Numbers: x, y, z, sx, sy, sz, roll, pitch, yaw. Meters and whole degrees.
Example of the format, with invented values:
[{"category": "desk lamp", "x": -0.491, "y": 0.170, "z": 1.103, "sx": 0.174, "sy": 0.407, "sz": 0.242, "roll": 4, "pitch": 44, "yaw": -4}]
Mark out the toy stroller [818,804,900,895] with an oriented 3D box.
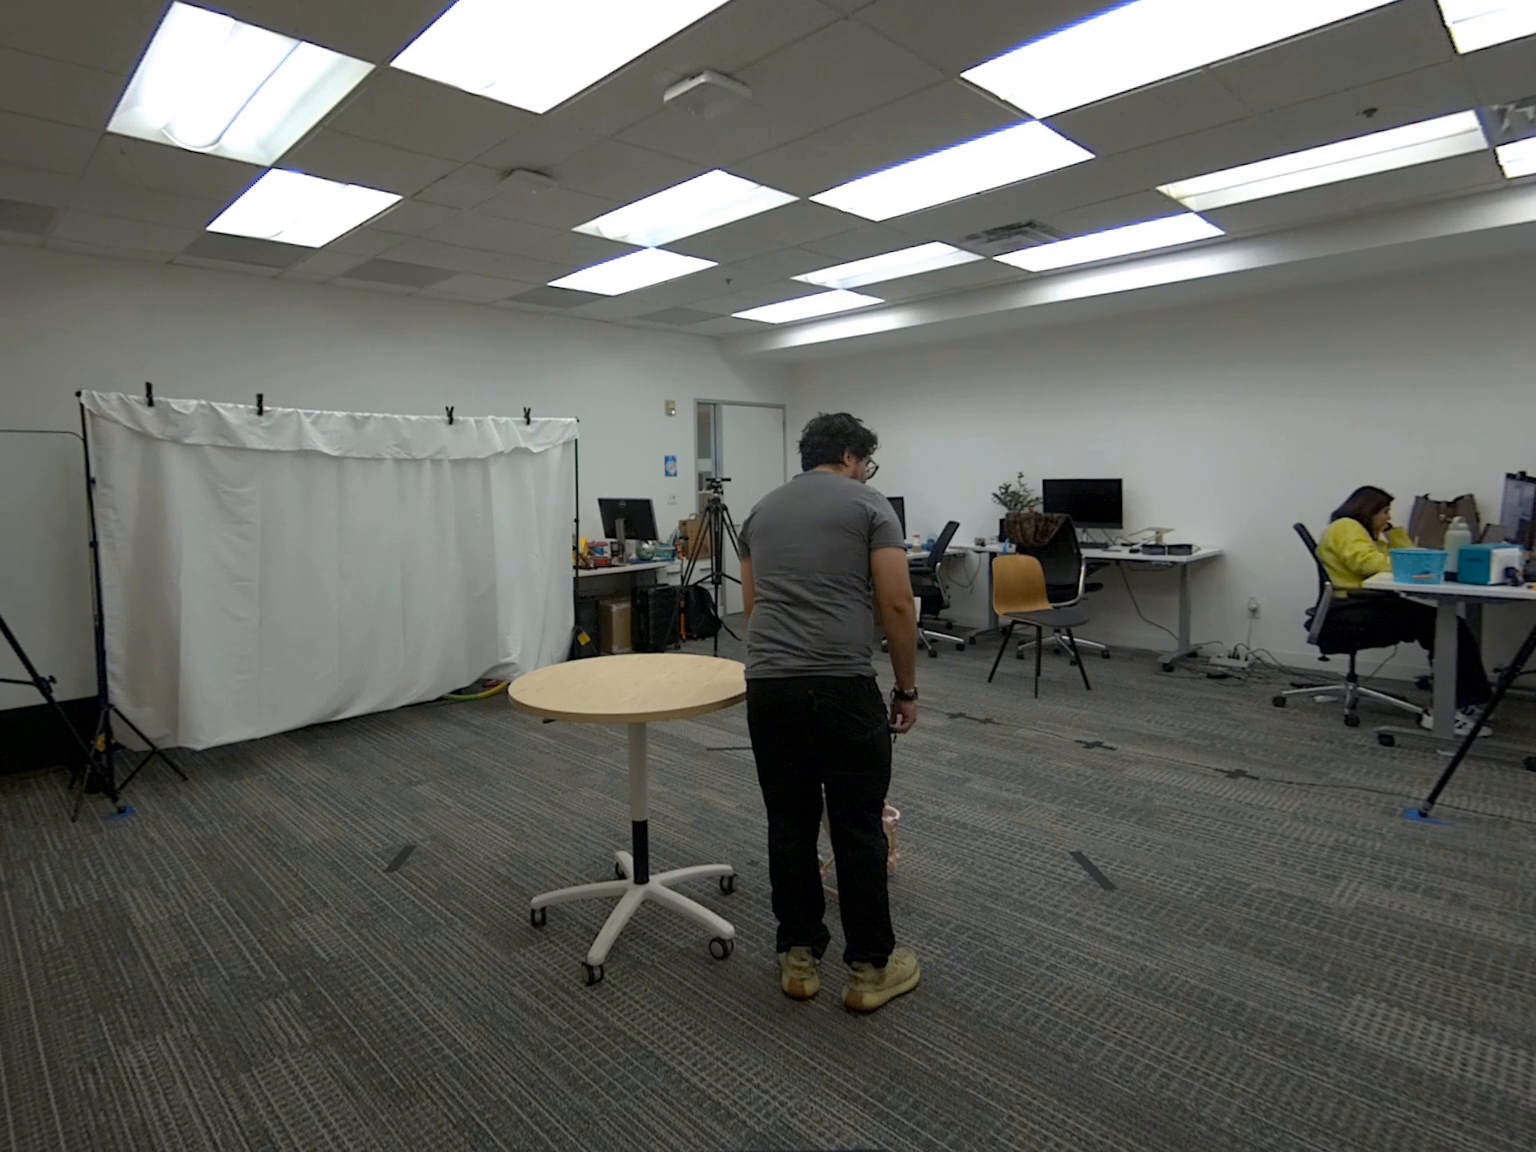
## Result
[{"category": "toy stroller", "x": 0.298, "y": 0.840, "z": 2.852, "sx": 0.336, "sy": 0.527, "sz": 0.290, "roll": -23, "pitch": 17, "yaw": -37}]
